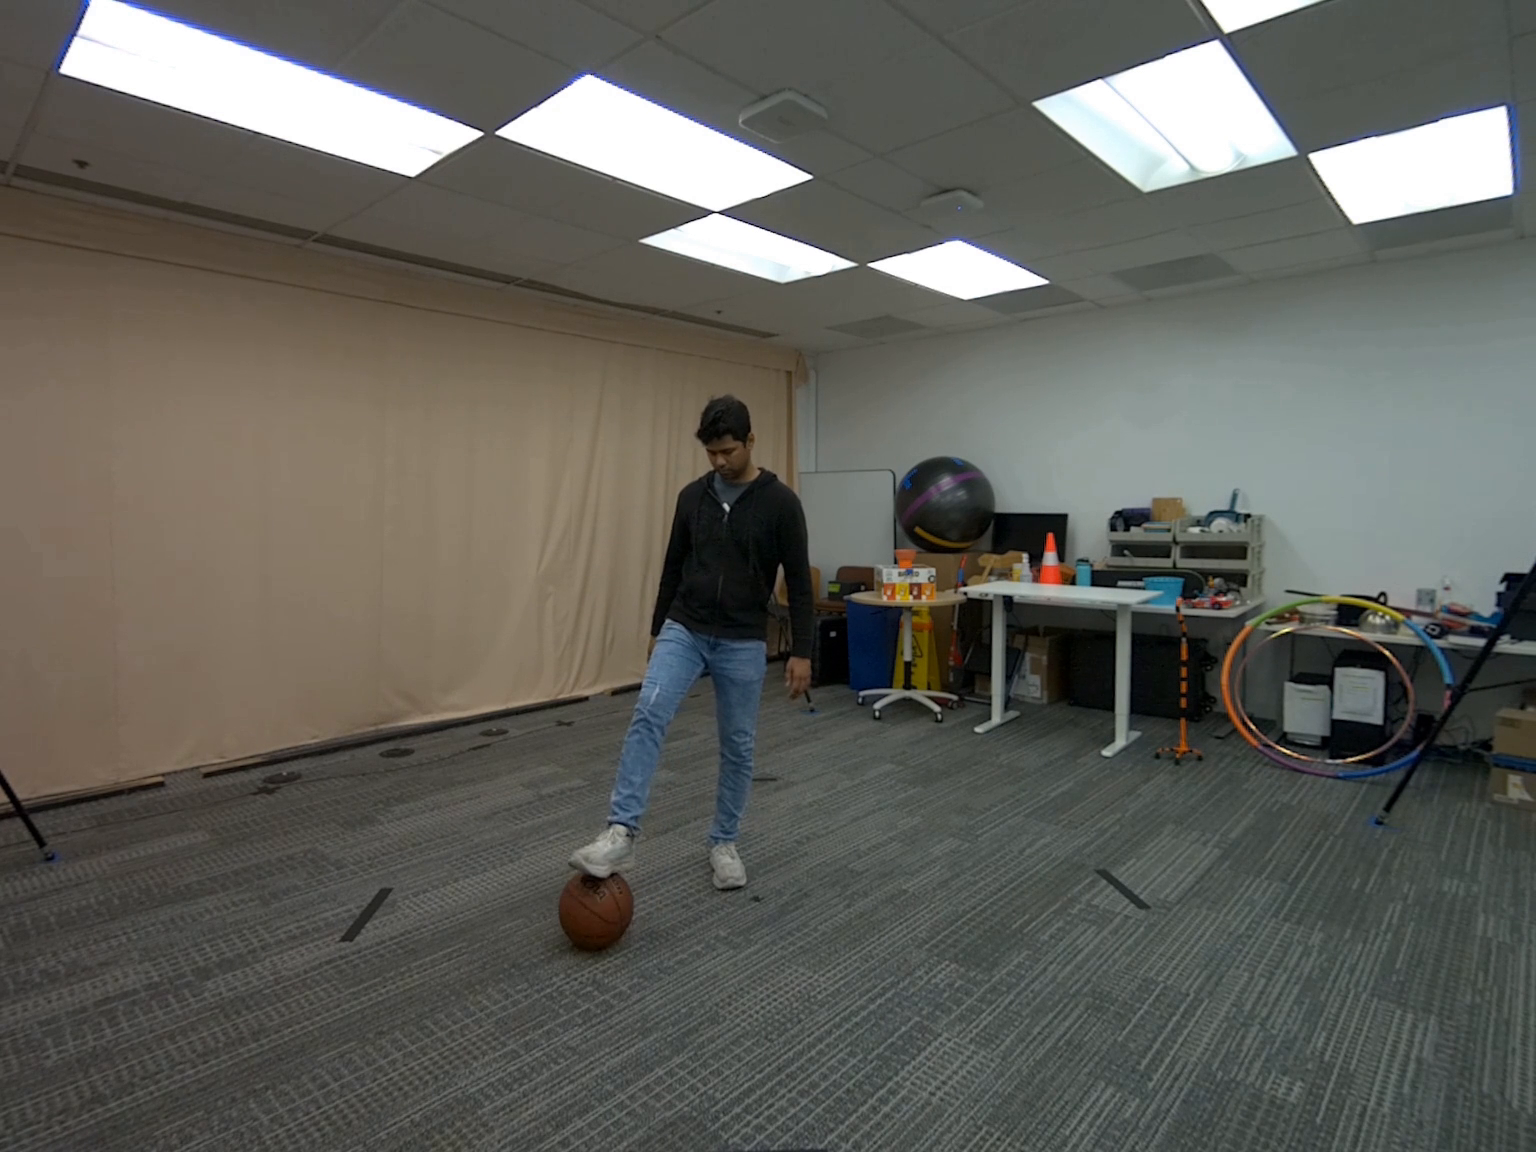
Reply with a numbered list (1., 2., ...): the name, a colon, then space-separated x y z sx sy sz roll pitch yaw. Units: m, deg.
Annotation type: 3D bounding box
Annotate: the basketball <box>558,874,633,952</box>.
1. basketball: -0.536 1.053 2.694 0.236 0.235 0.237 0 4 -2
